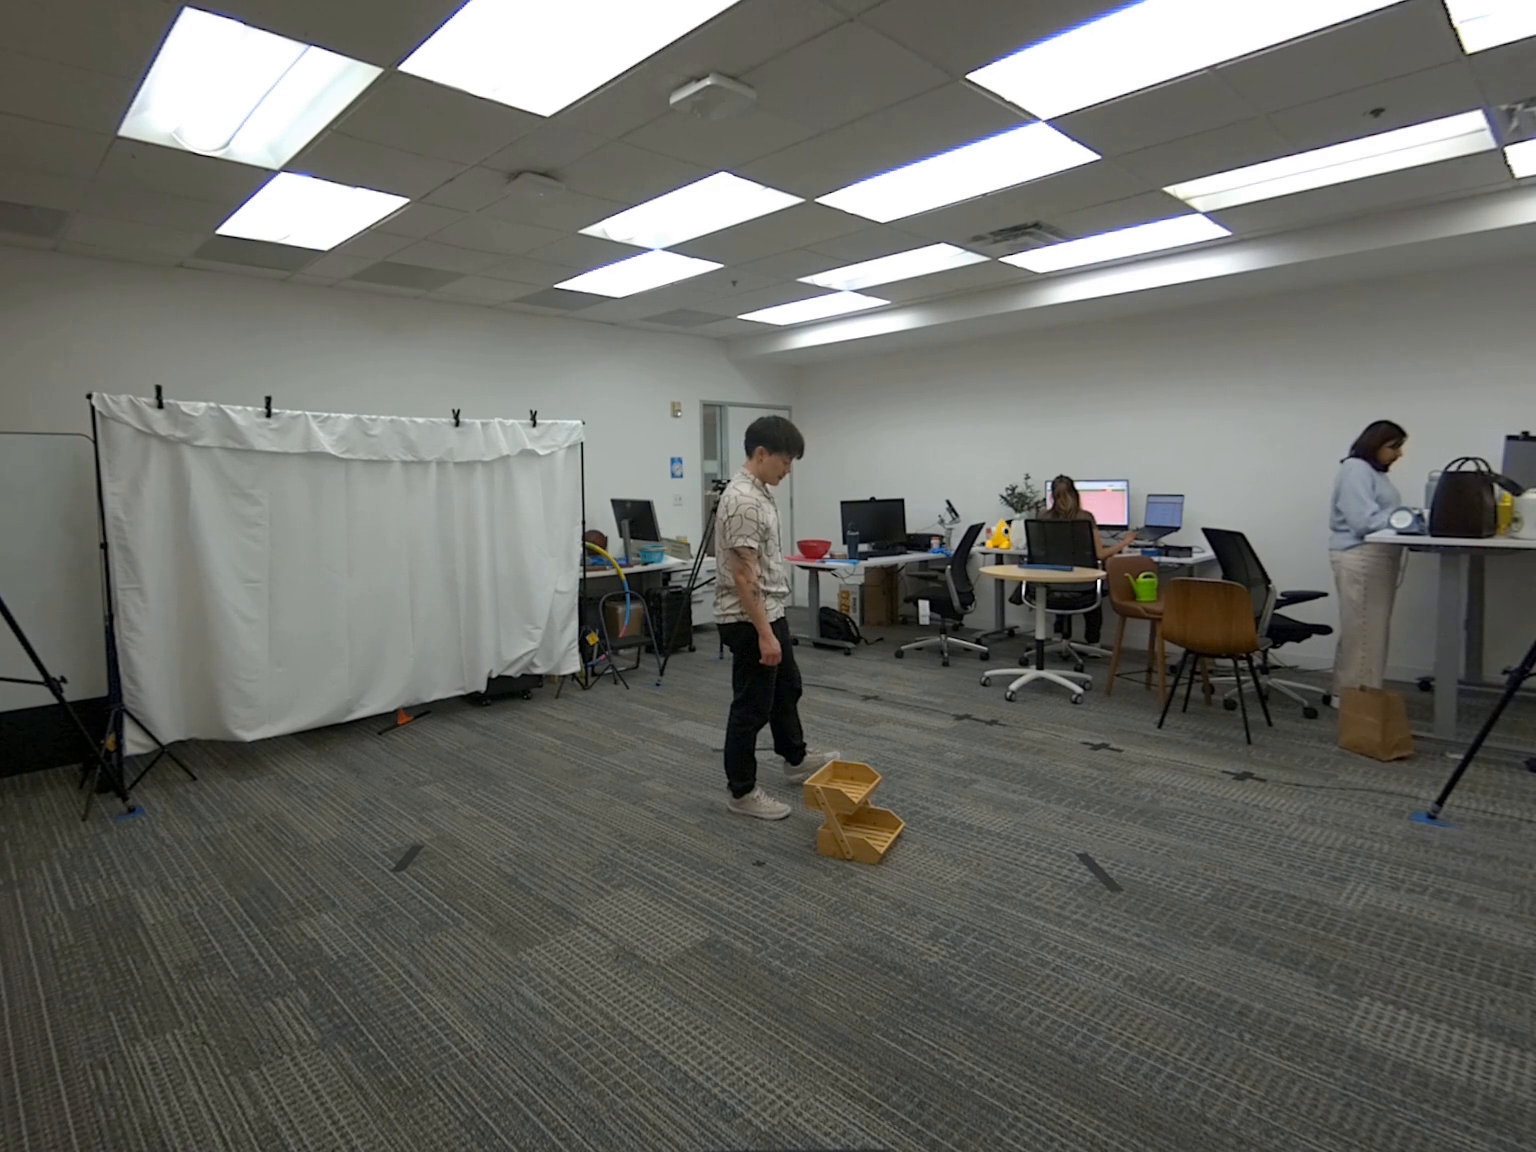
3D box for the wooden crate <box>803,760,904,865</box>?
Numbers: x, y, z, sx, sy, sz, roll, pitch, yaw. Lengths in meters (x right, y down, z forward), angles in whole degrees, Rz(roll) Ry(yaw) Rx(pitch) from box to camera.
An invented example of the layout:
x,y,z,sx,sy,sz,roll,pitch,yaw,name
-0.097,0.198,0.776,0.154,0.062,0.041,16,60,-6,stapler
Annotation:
x,y,z,sx,sy,sz,roll,pitch,yaw,name
0.339,0.890,3.268,0.309,0.272,0.318,1,5,27,wooden crate
